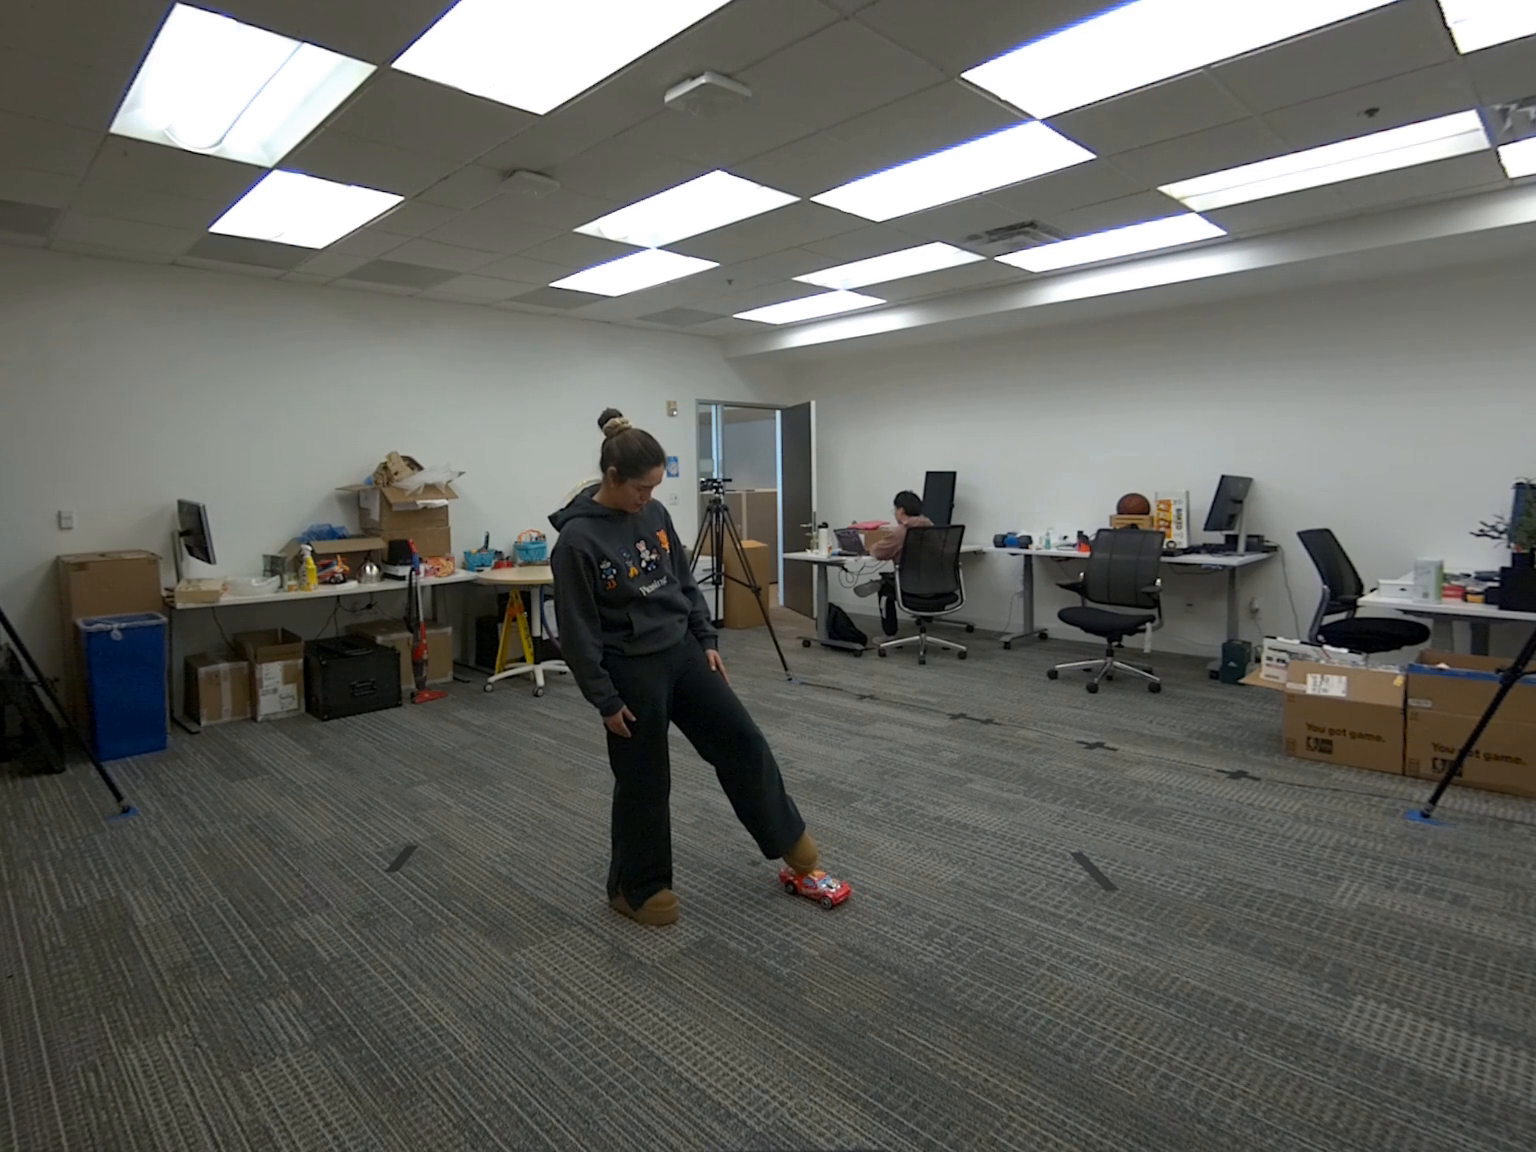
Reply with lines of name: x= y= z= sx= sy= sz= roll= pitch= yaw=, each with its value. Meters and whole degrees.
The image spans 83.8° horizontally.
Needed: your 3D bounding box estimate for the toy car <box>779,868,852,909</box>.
toy car: x=0.157 y=1.038 z=2.855 sx=0.264 sy=0.082 sz=0.127 roll=17 pitch=17 yaw=40
